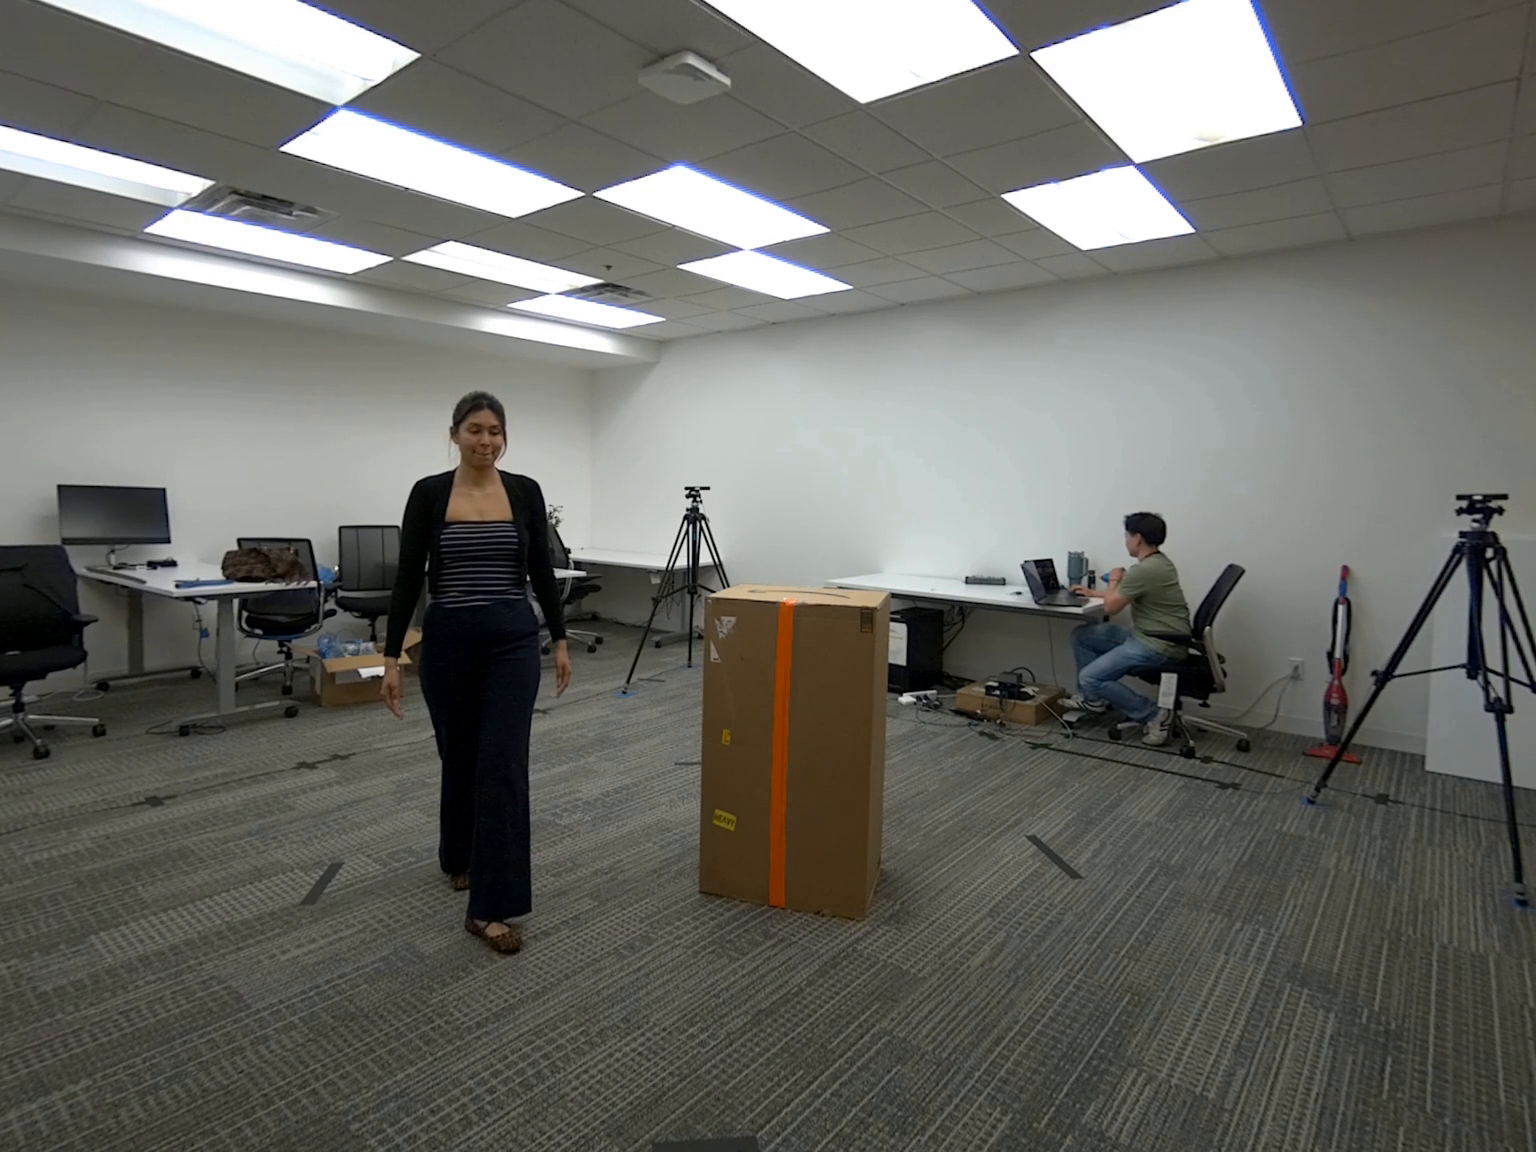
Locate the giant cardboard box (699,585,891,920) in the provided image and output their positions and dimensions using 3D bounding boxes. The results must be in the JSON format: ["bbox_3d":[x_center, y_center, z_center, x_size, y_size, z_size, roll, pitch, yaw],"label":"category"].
[{"bbox_3d":[0.094,0.573,2.997,0.589,1.022,0.419,2,4,18],"label":"giant cardboard box"}]
